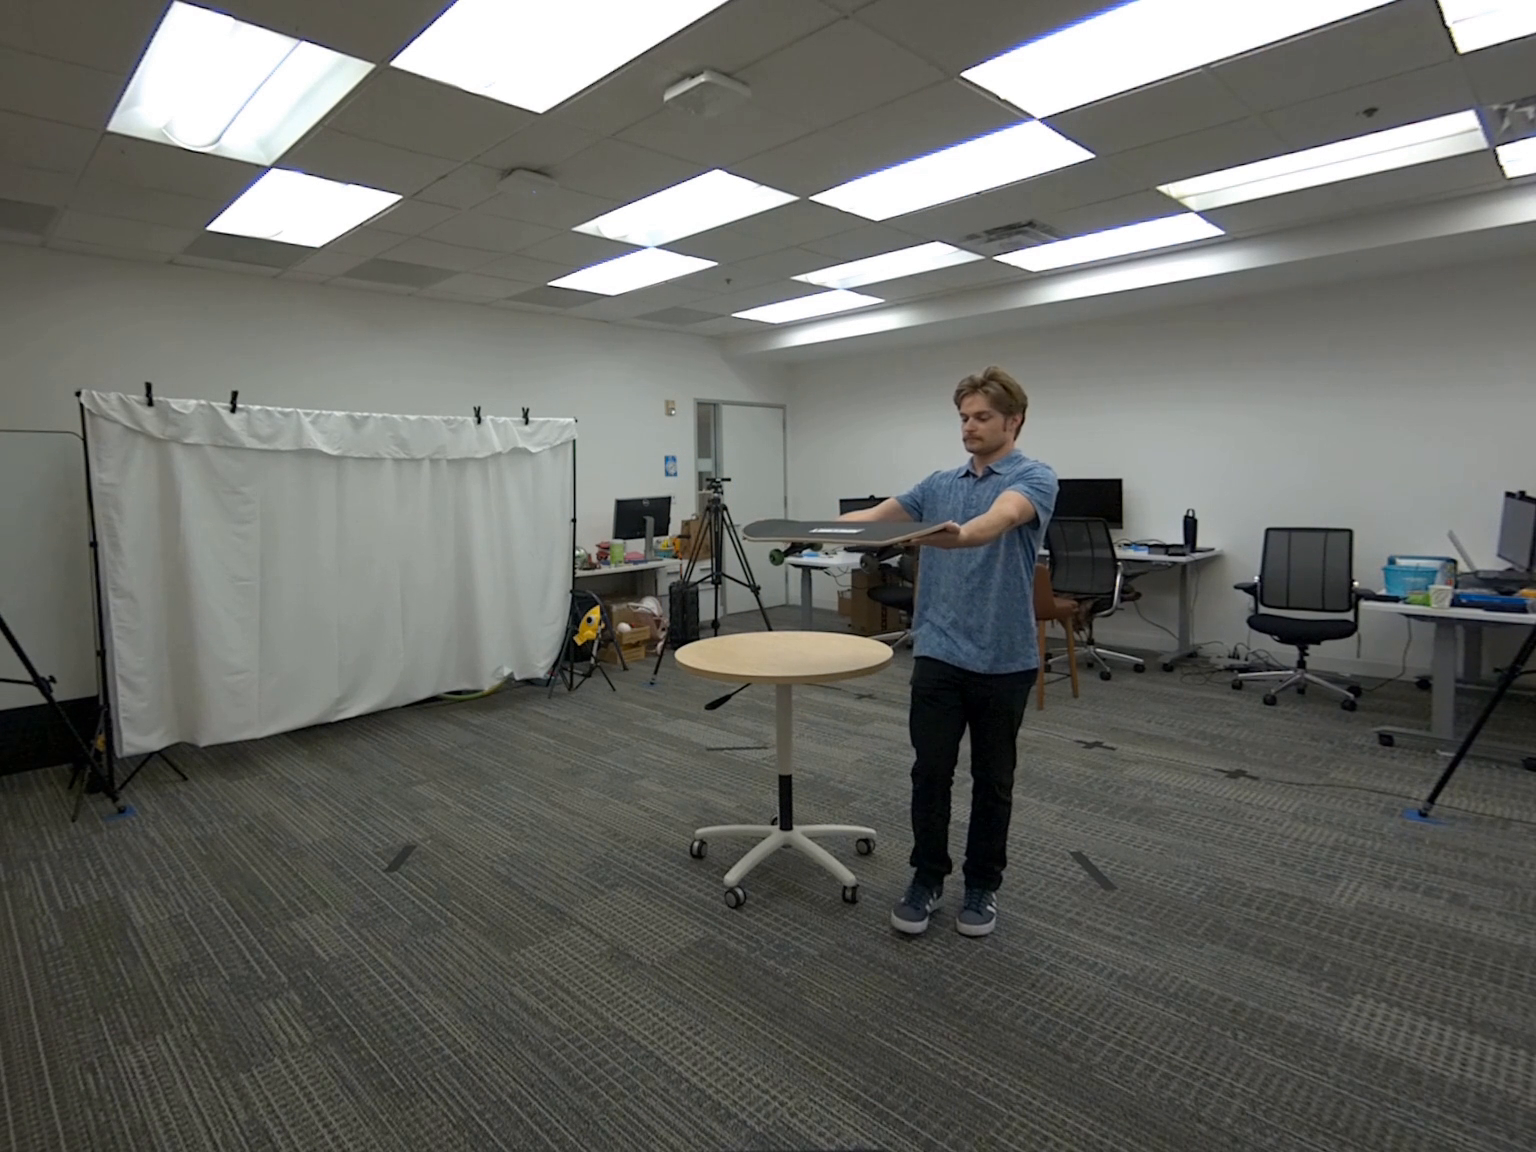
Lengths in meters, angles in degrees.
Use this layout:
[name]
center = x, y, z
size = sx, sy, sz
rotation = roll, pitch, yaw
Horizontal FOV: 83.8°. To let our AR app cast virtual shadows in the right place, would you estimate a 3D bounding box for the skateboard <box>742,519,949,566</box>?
[skateboard]
center = 0.204, -0.091, 2.382
size = 0.190, 0.109, 0.808
rotation = -23, 15, -31
